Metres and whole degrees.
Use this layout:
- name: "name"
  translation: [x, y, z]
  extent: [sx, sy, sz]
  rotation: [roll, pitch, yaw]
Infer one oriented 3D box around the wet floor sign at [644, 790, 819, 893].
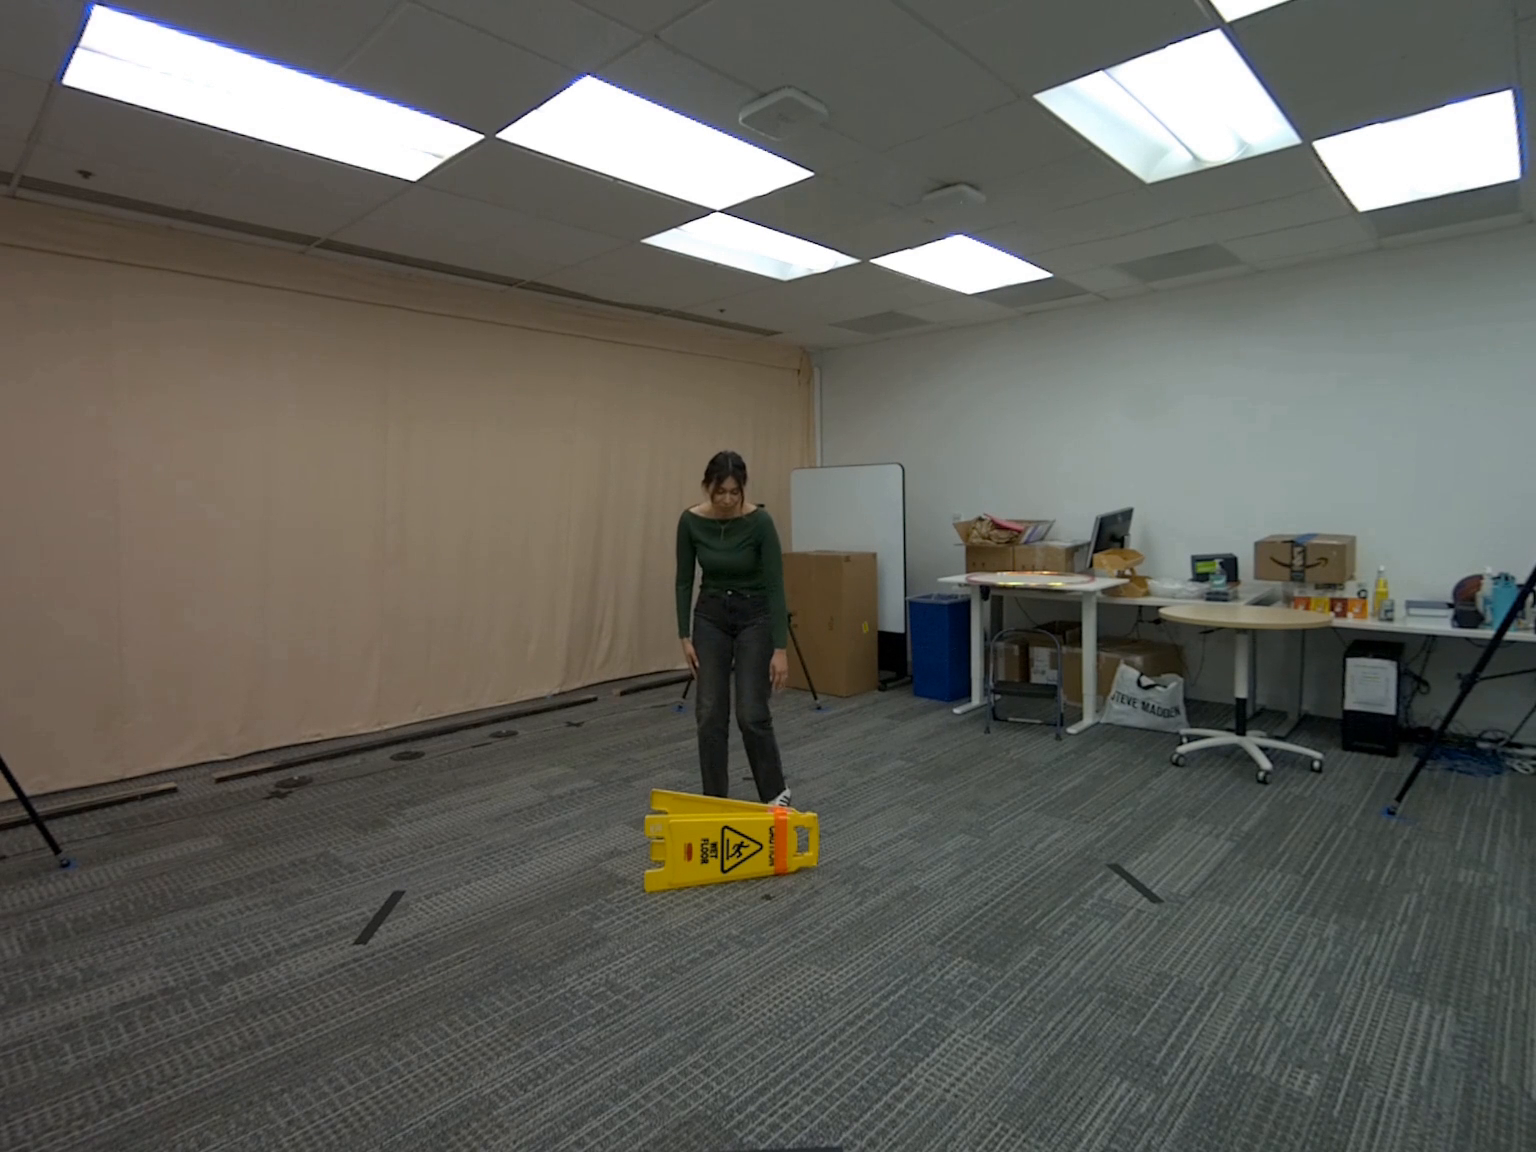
- name: "wet floor sign"
  translation: [-0.124, 0.991, 3.185]
  extent: [0.645, 0.282, 0.290]
  rotation: [1, 4, -1]
